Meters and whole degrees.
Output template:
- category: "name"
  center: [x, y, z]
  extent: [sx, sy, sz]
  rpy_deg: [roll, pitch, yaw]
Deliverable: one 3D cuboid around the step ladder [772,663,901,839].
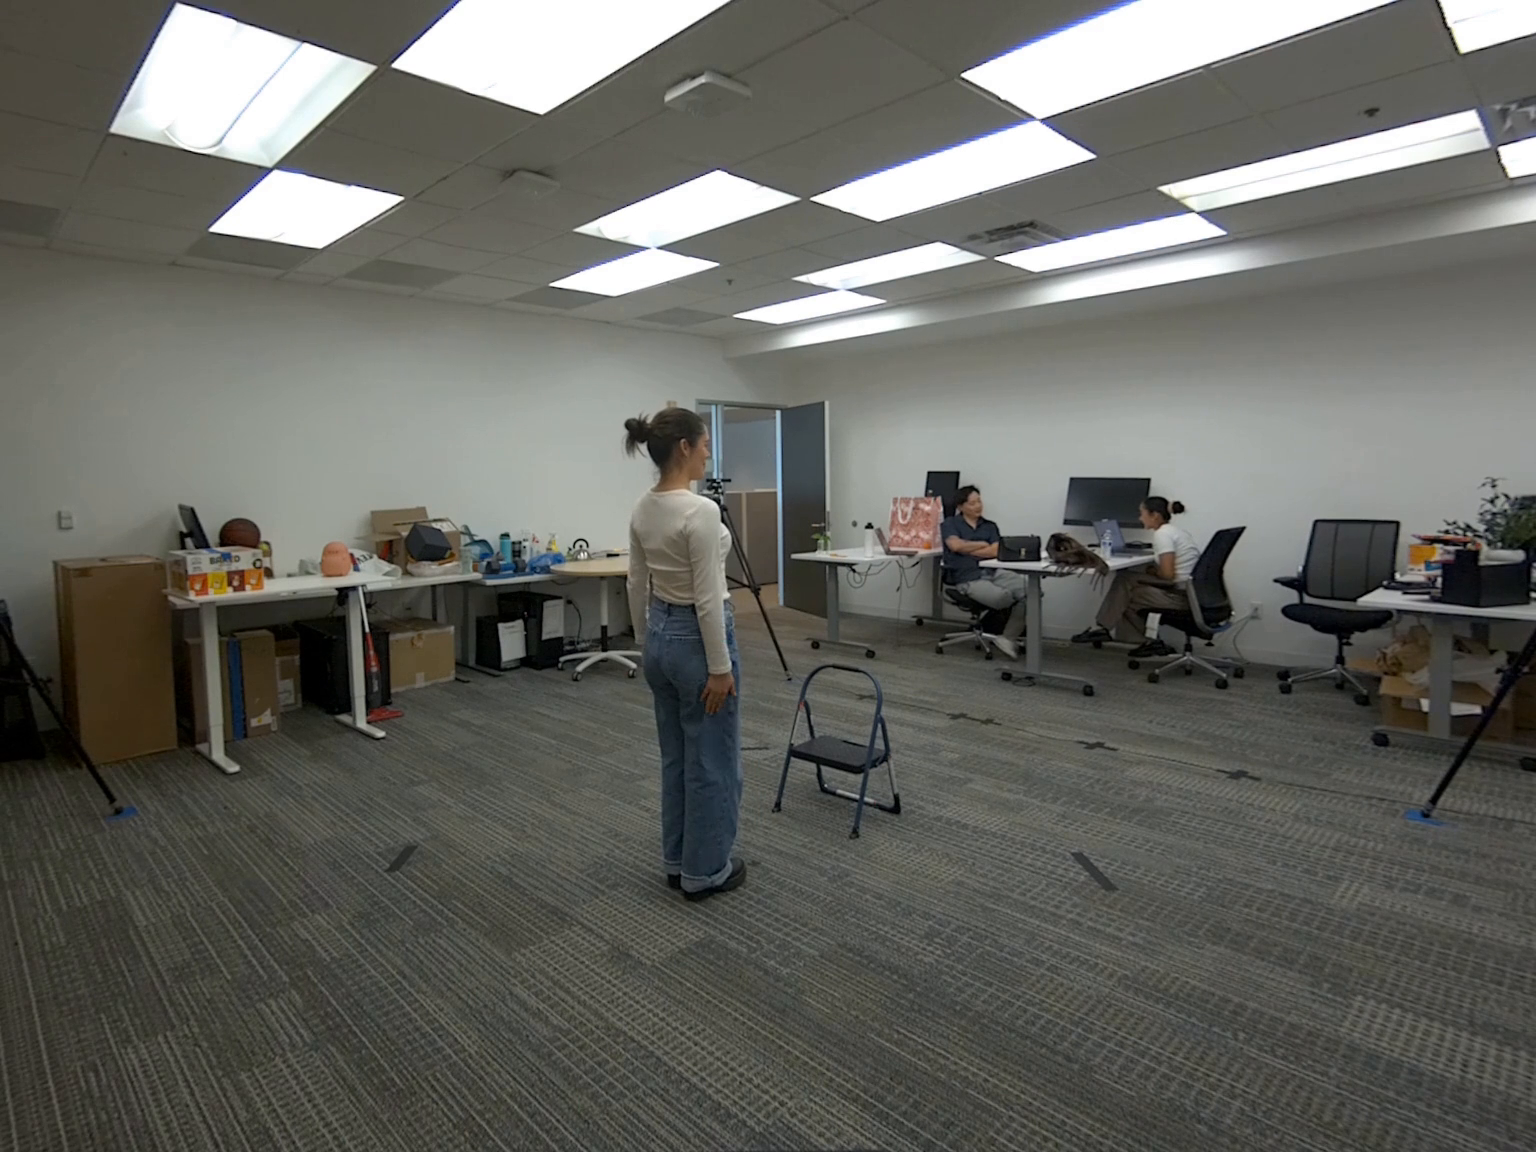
- category: "step ladder"
  center: [0.286, 0.687, 3.552]
  extent: [0.444, 0.604, 0.340]
  rpy_deg: [4, 6, 42]
